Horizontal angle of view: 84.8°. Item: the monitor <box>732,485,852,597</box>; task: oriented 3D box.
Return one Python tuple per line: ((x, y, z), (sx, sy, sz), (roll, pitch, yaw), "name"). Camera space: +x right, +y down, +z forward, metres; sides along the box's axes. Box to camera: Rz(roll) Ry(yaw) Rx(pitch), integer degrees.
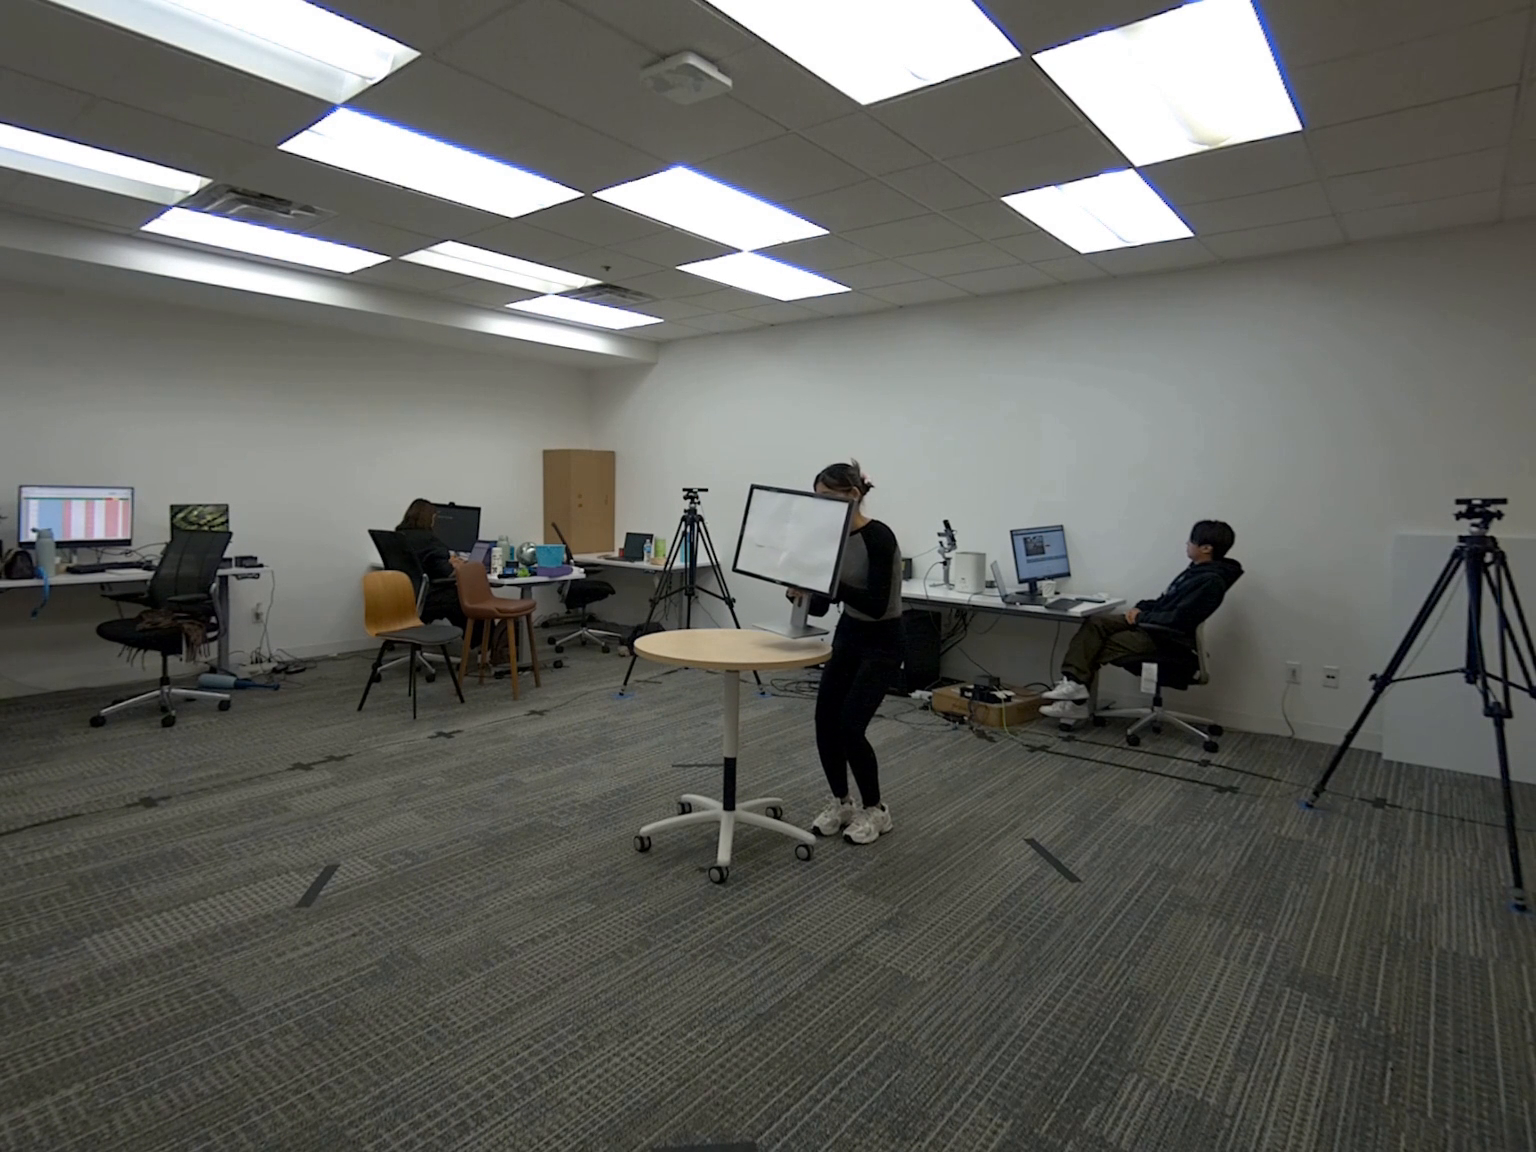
((0.093, -0.059, 3.254), (0.181, 0.519, 0.559), (-4, 11, -41), "monitor")
